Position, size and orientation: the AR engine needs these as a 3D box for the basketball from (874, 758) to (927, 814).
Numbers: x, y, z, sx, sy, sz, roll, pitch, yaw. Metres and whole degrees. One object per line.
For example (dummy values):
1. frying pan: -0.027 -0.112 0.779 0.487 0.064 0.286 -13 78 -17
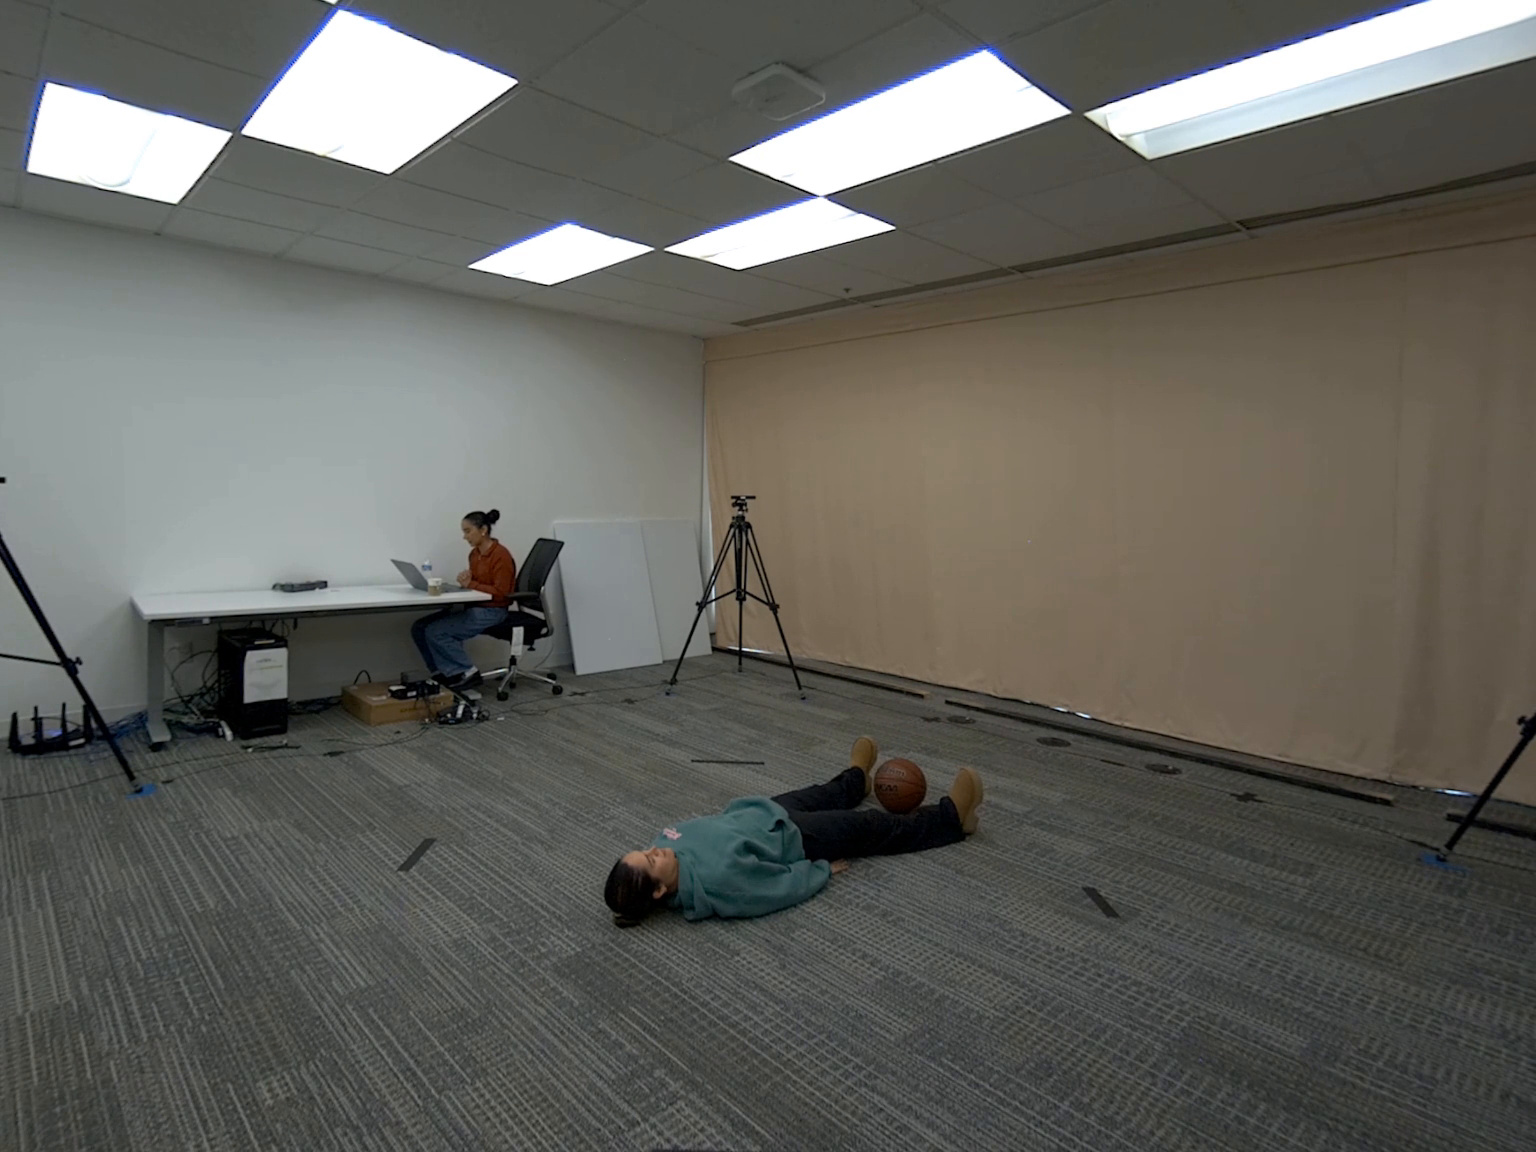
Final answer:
1. basketball: 0.578 0.941 3.787 0.236 0.235 0.237 1 5 -1
